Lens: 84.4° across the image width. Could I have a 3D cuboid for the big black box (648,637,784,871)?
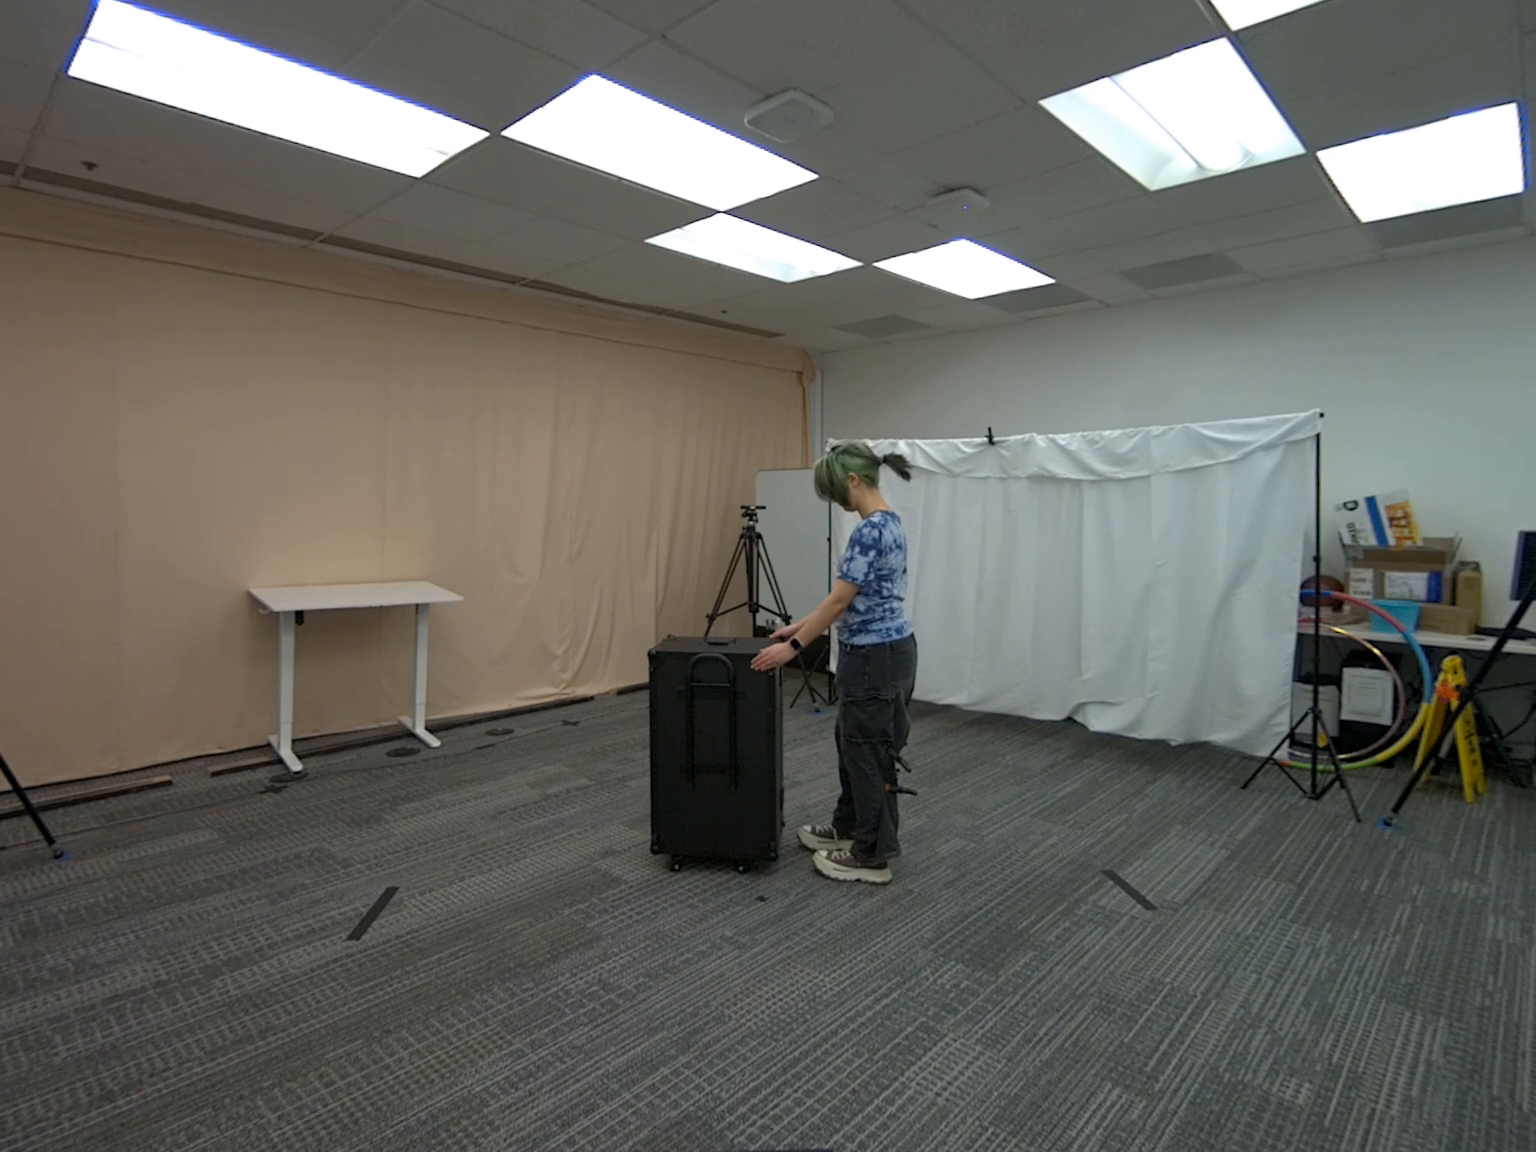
[{"bbox_3d":[-0.187,0.701,3.314,0.526,0.859,0.393,1,4,8],"label":"big black box"}]
